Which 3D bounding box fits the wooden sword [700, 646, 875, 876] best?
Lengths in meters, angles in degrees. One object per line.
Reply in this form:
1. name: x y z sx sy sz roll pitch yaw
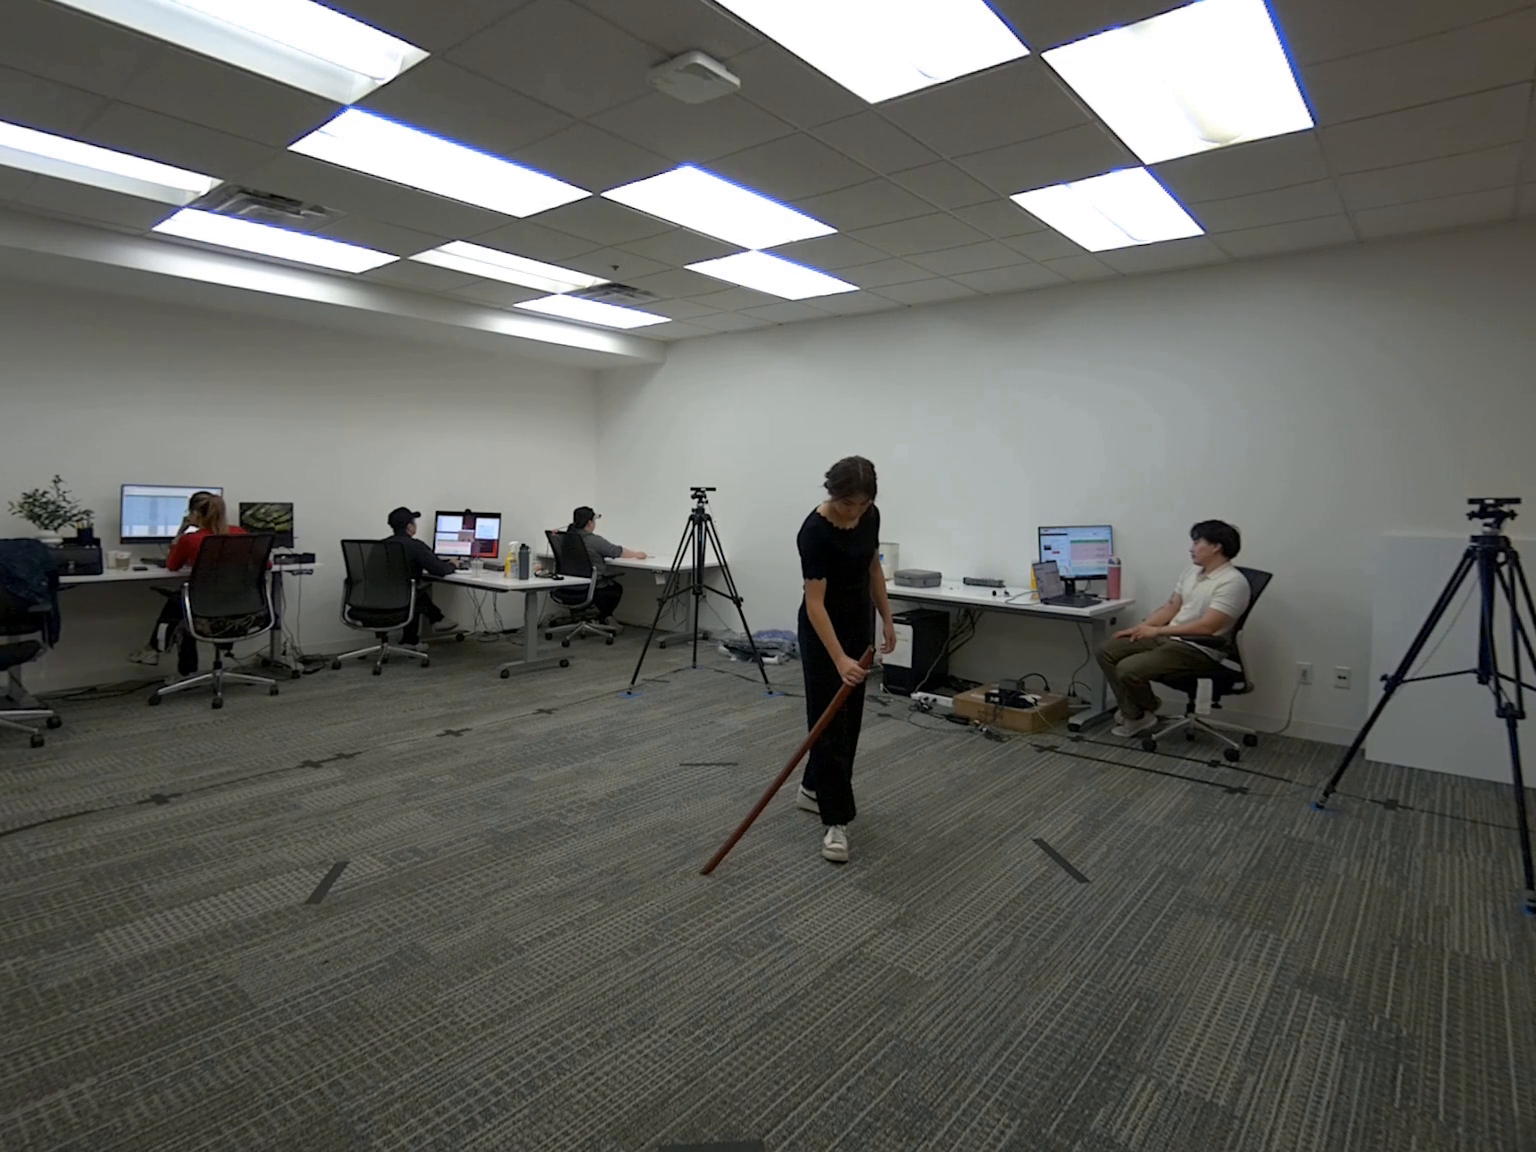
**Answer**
1. wooden sword: 0.072 0.687 3.101 0.024 1.025 0.051 39 -5 6
